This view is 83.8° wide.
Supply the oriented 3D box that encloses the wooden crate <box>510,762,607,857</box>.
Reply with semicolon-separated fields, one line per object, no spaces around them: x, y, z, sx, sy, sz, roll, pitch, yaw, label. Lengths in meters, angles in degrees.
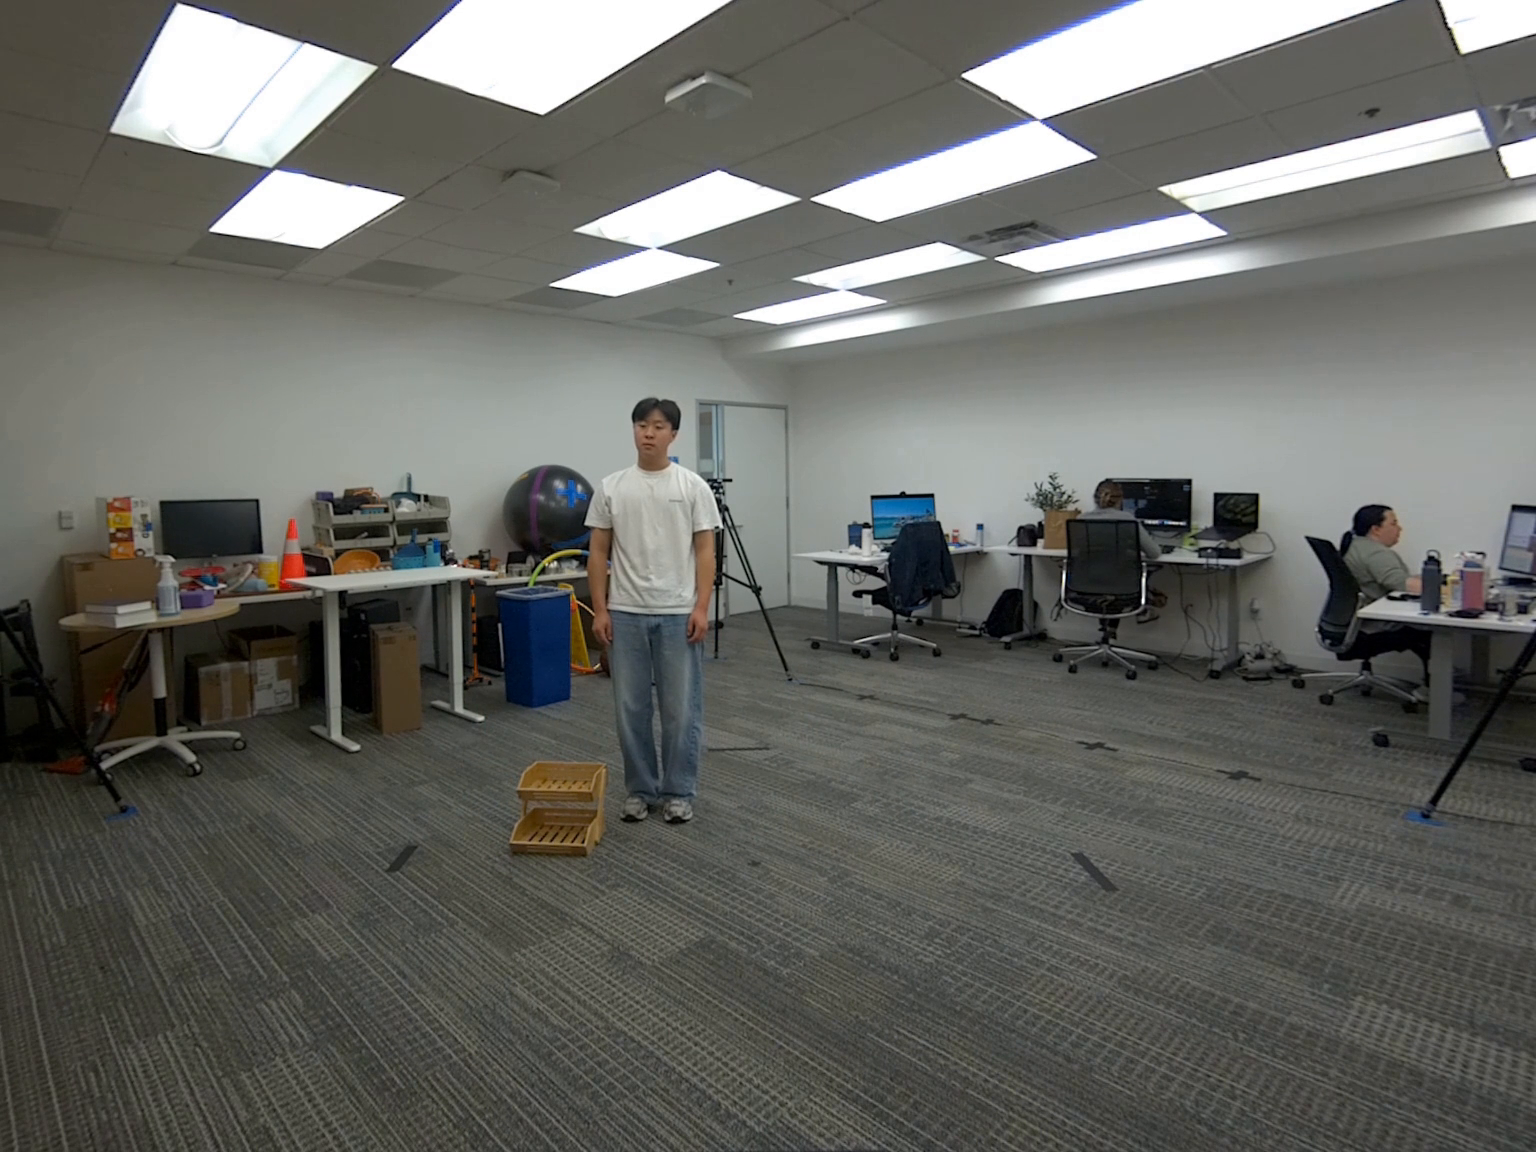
-0.821;0.904;3.332;0.327;0.272;0.301;-1;4;7;wooden crate
